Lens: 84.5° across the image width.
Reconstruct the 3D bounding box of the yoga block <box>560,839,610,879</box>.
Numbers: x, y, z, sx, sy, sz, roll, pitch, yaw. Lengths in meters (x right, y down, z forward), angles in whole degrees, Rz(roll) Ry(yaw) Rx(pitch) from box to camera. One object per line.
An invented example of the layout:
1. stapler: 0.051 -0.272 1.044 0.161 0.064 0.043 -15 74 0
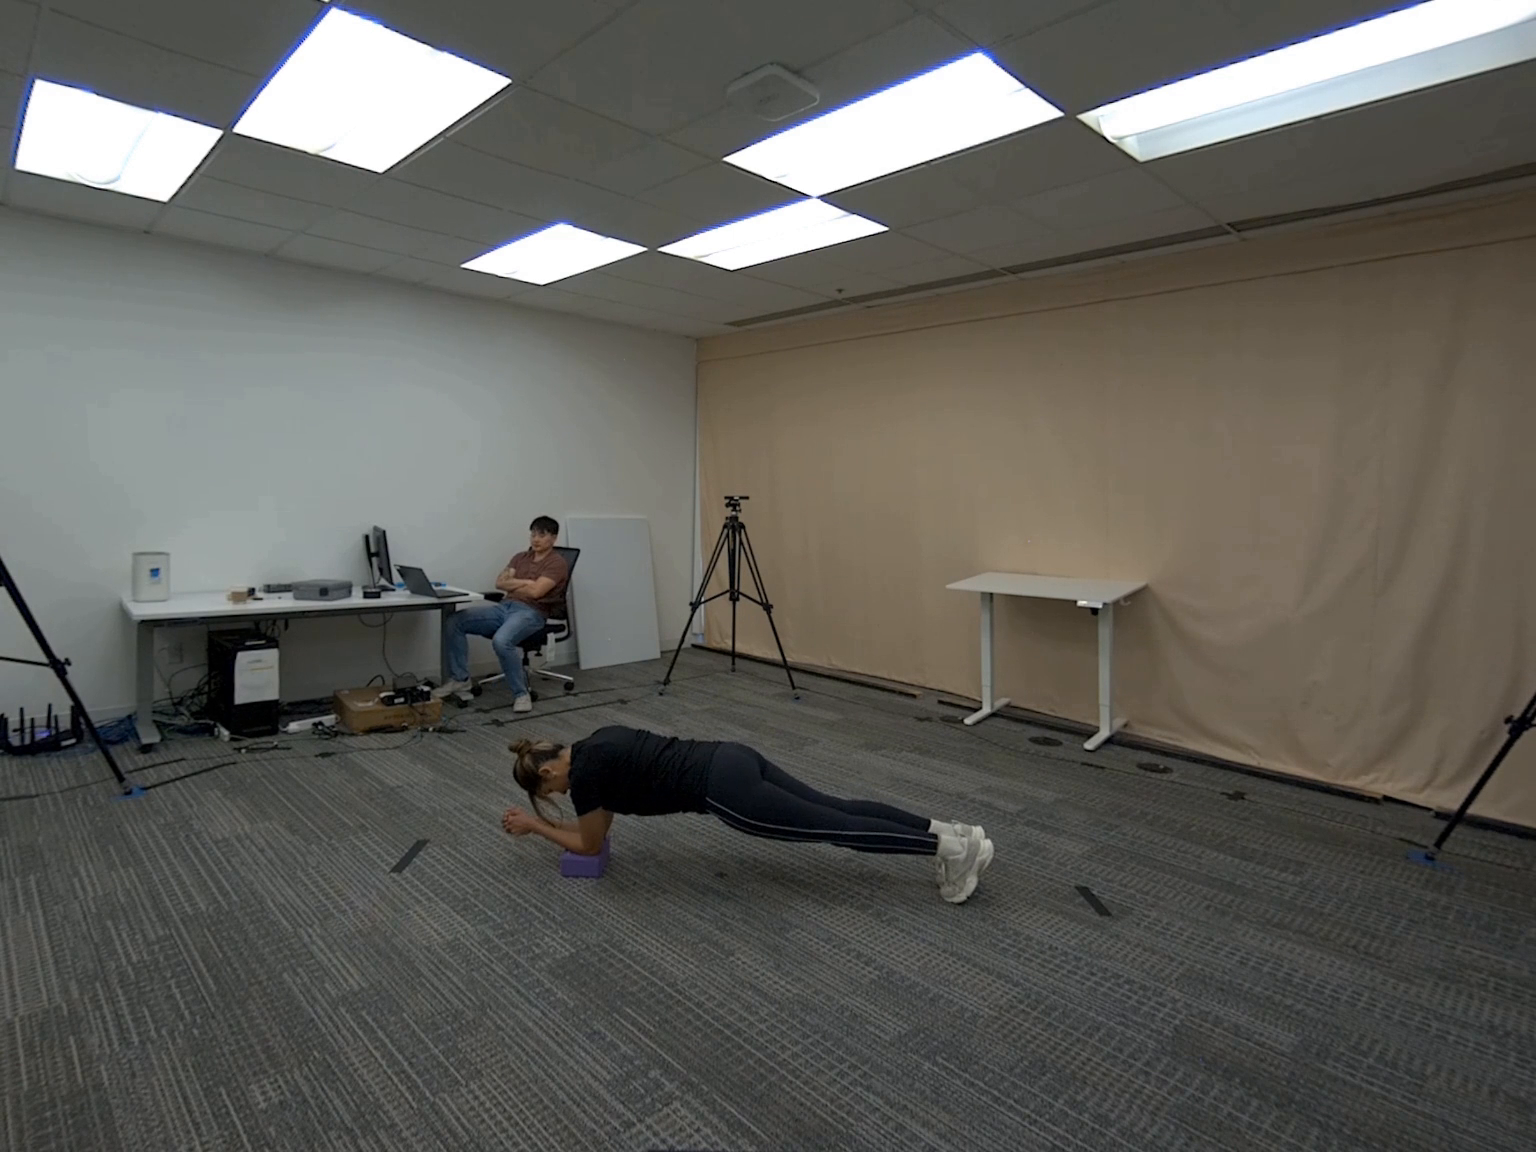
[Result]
1. yoga block: -0.685 1.041 3.163 0.149 0.076 0.230 0 6 1
